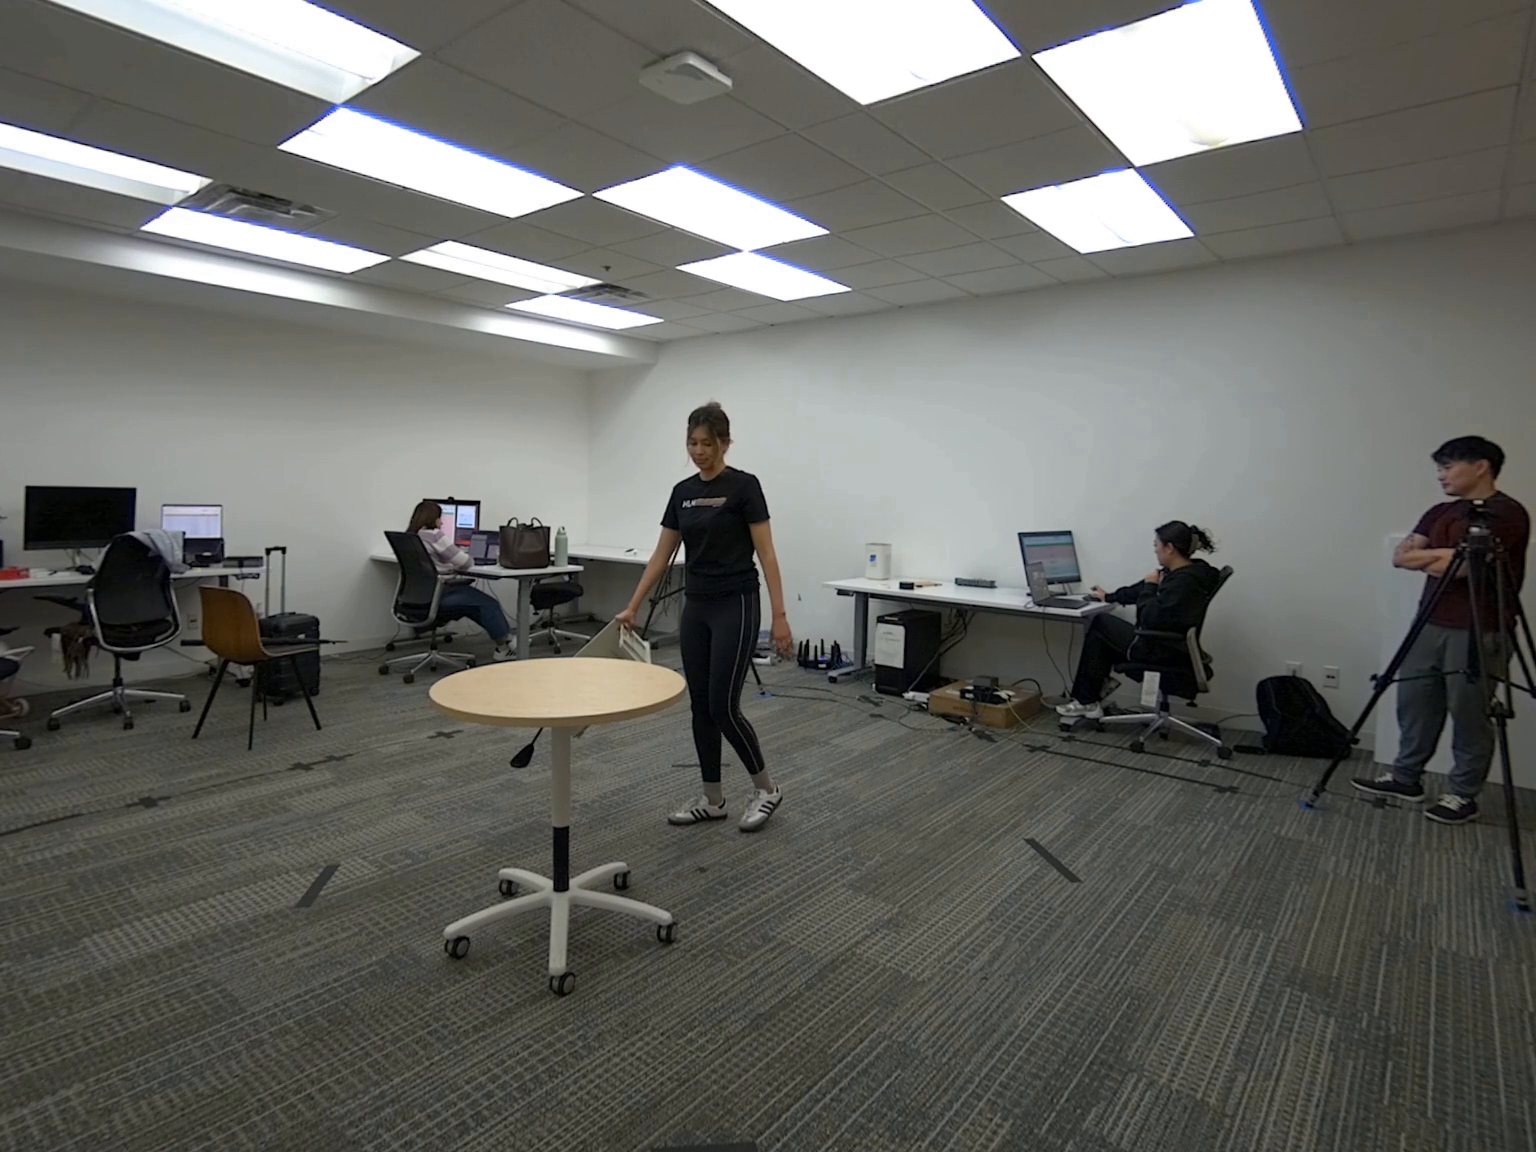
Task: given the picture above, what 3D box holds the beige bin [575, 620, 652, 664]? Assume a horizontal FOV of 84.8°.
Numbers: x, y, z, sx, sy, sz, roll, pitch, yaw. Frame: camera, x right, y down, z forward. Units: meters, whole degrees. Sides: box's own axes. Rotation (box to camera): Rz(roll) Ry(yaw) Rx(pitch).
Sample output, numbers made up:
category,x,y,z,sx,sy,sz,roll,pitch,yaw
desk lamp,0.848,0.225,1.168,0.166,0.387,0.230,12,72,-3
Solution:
category,x,y,z,sx,sy,sz,roll,pitch,yaw
beige bin,-0.700,0.413,3.527,0.185,0.422,0.386,46,5,-18
